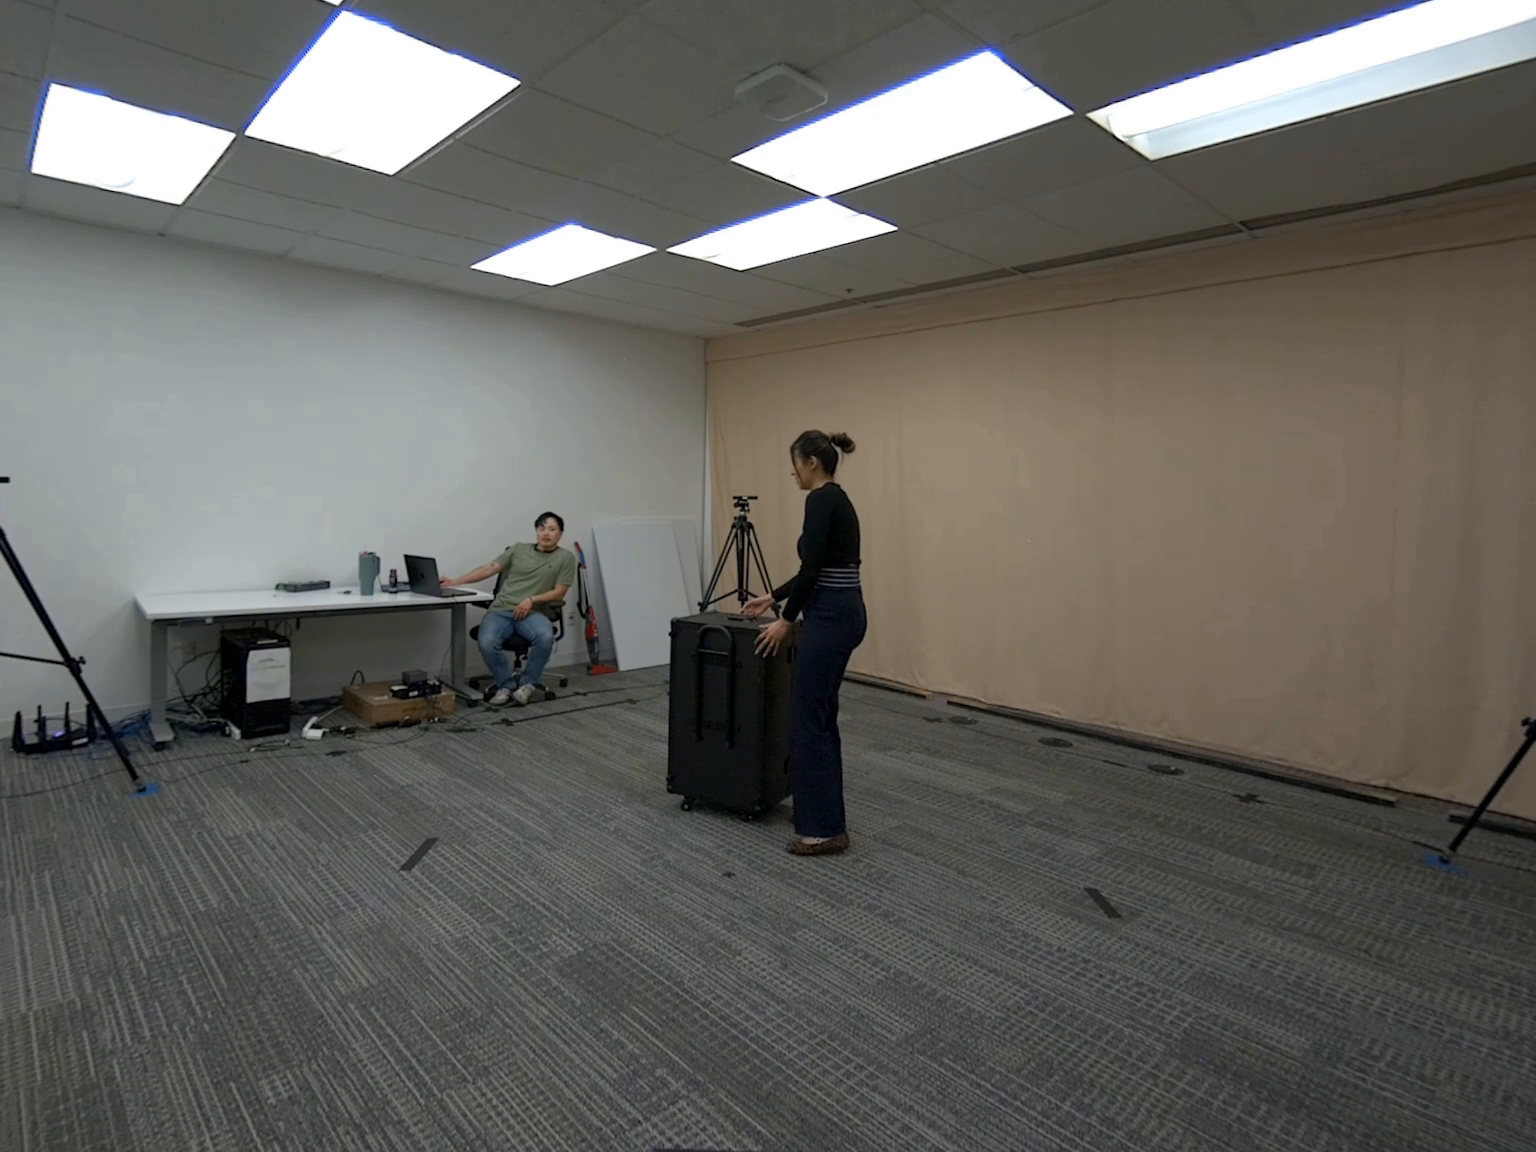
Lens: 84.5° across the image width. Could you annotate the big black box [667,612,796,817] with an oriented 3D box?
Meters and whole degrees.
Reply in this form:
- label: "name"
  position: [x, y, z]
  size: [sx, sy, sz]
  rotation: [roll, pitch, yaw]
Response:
- label: "big black box"
  position: [-0.156, 0.622, 3.762]
  size: [0.532, 0.859, 0.389]
  rotation: [4, 4, 29]
